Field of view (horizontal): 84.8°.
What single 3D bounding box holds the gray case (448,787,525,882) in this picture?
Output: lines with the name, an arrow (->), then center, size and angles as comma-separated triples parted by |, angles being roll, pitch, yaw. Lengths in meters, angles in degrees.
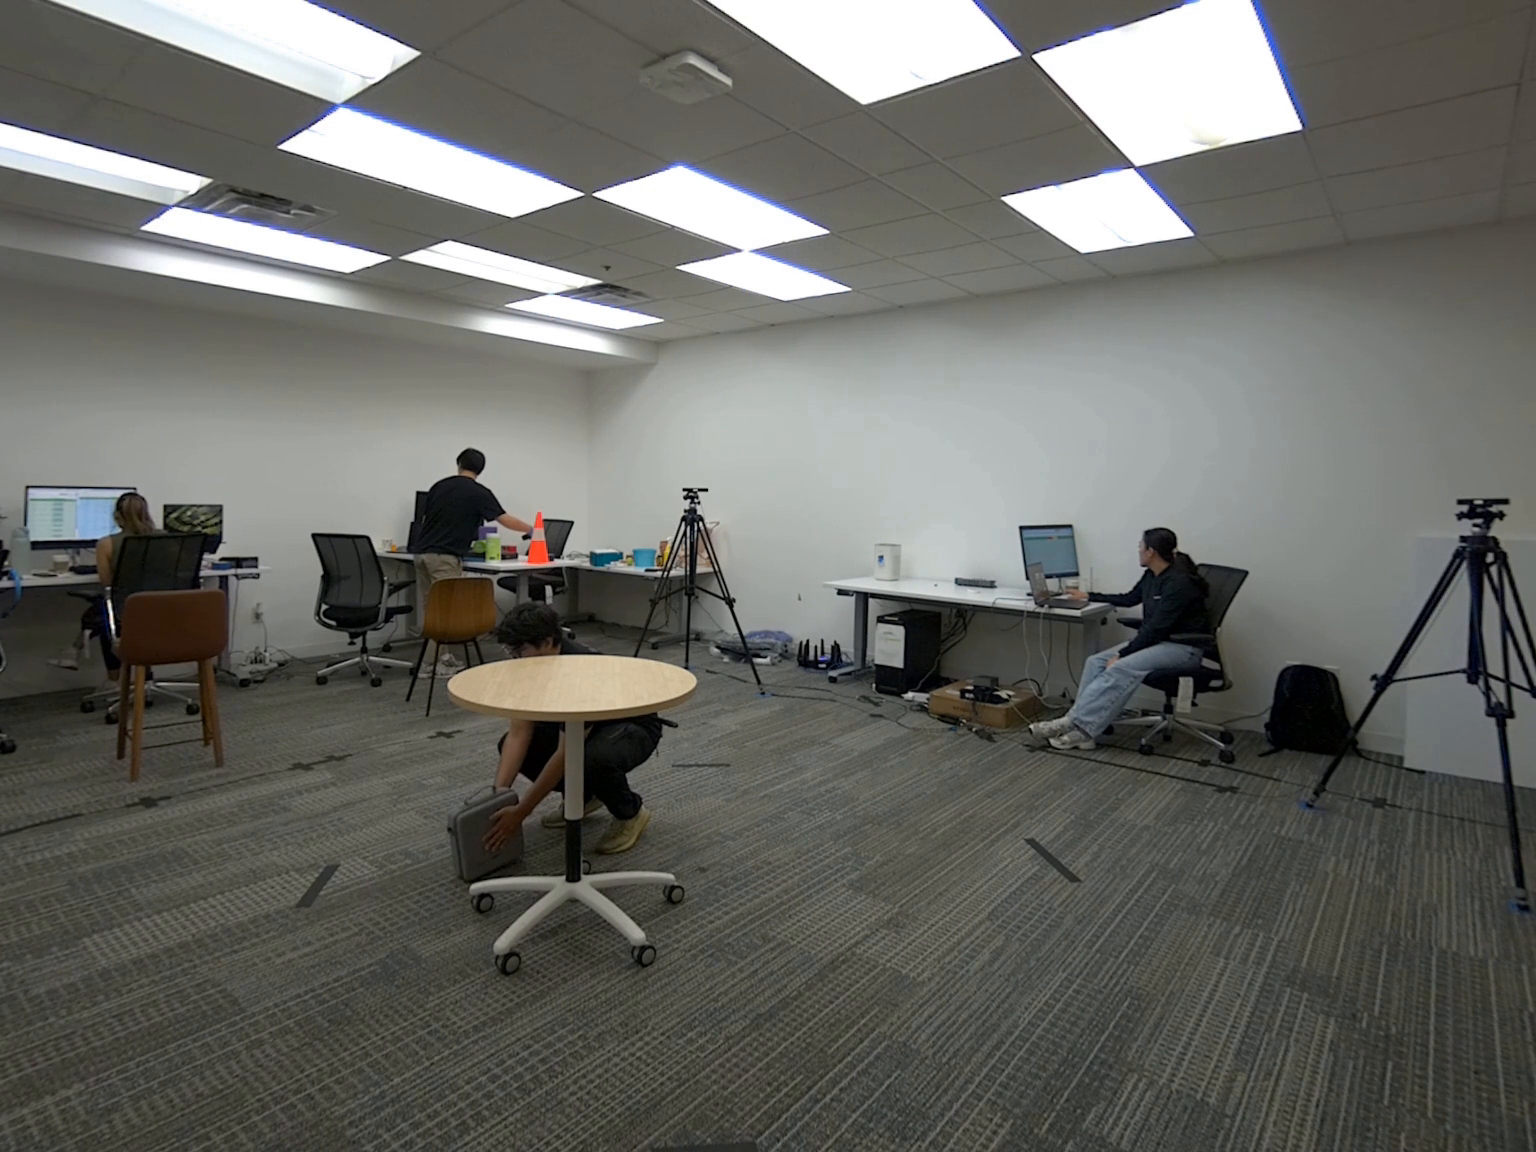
gray case -> -1.040, 0.918, 3.071 | 0.108, 0.259, 0.250 | 2, 10, 42
